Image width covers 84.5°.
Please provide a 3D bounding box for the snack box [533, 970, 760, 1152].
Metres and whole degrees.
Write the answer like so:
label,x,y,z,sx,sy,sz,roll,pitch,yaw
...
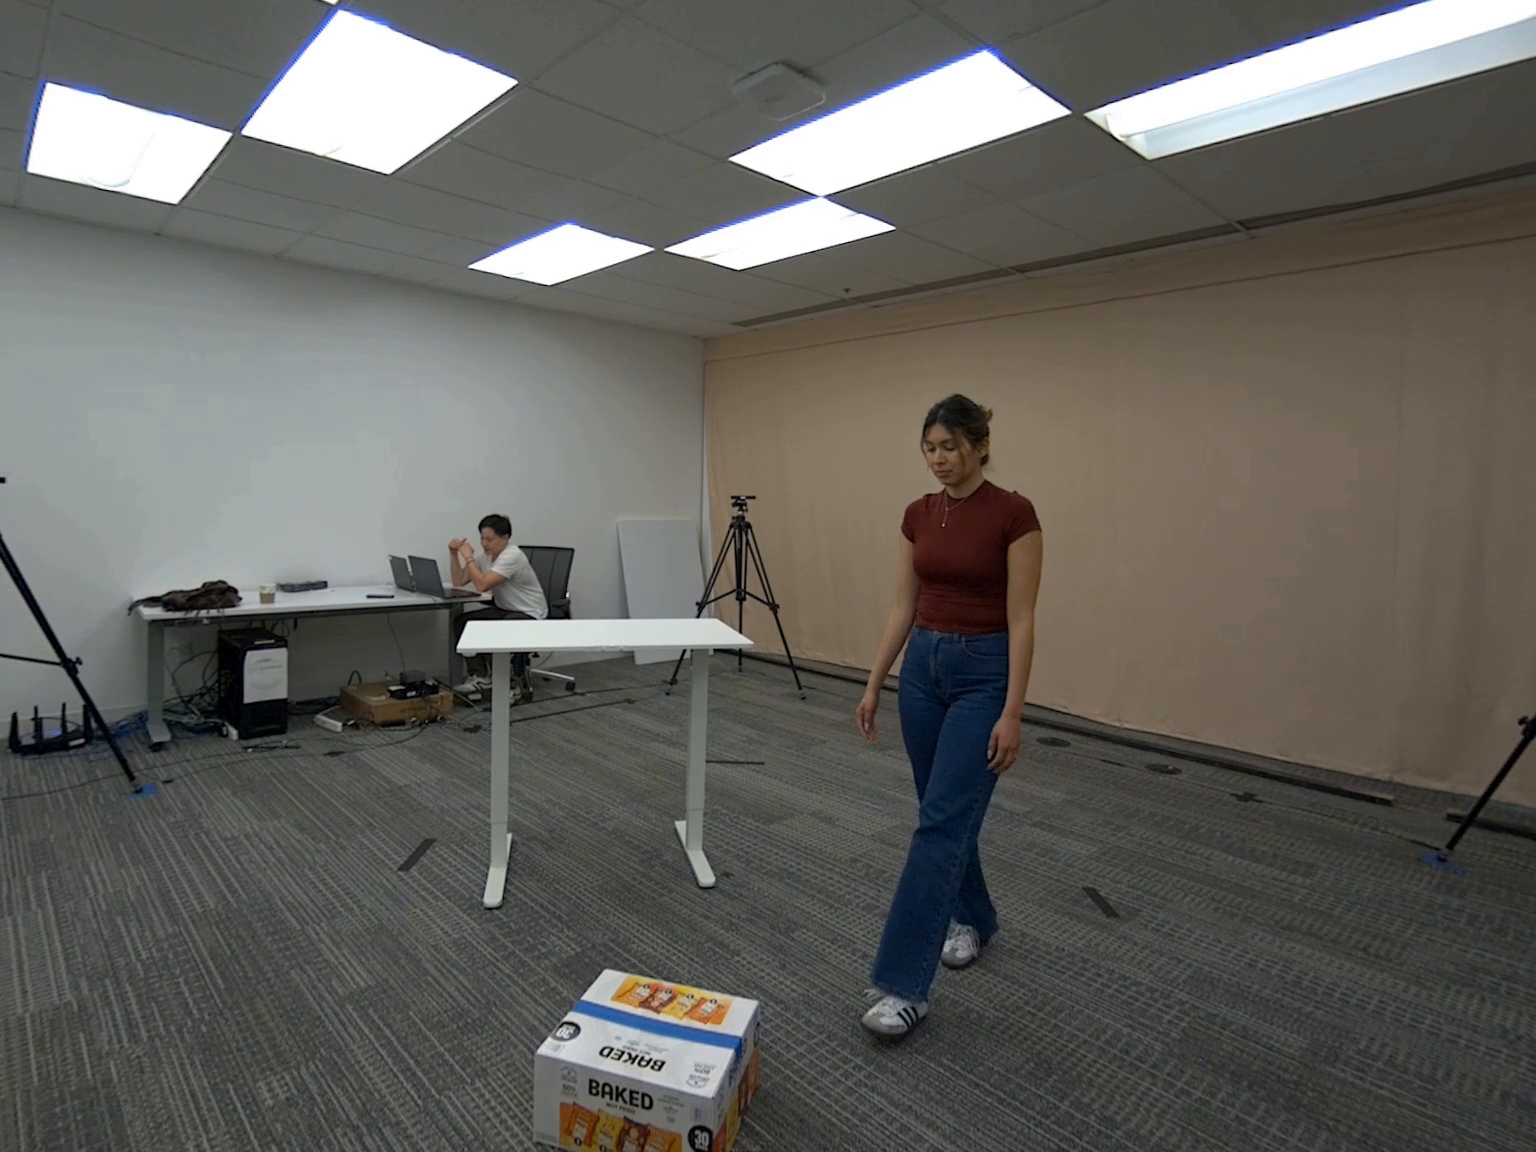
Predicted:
label,x,y,z,sx,sy,sz,roll,pitch,yaw
snack box,-0.265,1.115,1.884,0.411,0.205,0.336,3,5,16
